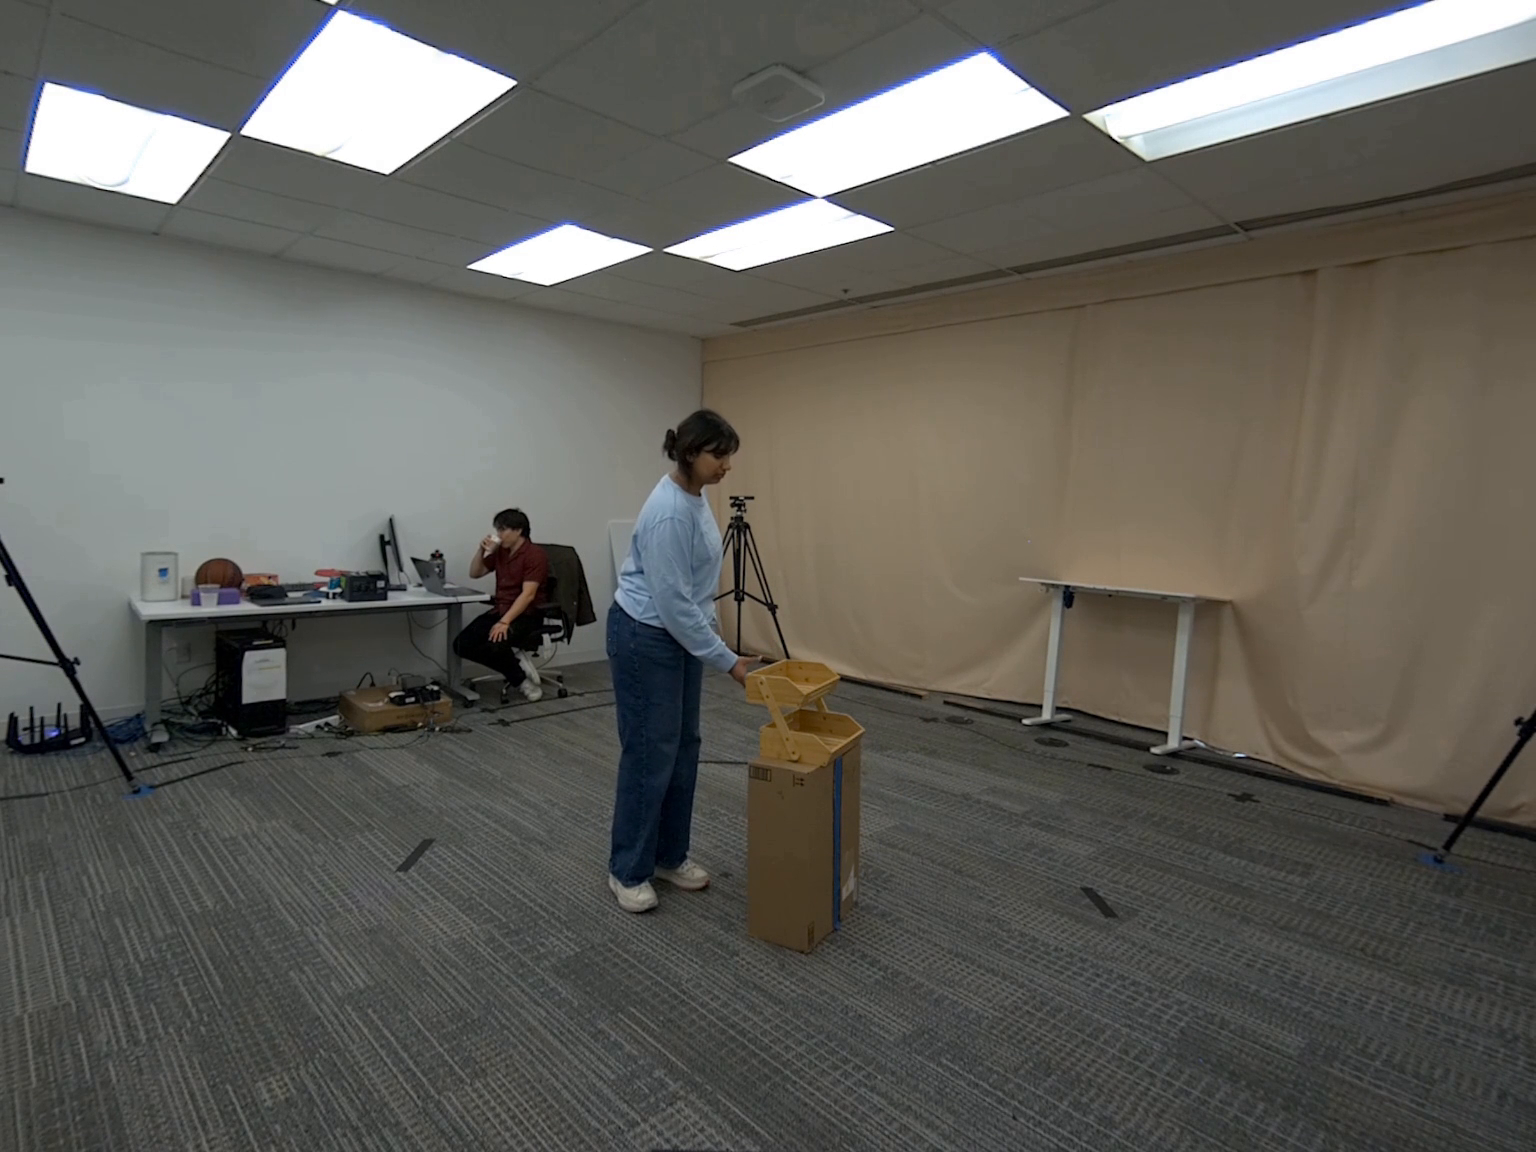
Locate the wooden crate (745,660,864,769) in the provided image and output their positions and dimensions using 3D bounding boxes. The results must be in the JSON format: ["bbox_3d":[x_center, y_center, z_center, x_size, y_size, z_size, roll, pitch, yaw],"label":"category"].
[{"bbox_3d":[0.123,0.440,2.788,0.308,0.273,0.318,2,4,28],"label":"wooden crate"}]
